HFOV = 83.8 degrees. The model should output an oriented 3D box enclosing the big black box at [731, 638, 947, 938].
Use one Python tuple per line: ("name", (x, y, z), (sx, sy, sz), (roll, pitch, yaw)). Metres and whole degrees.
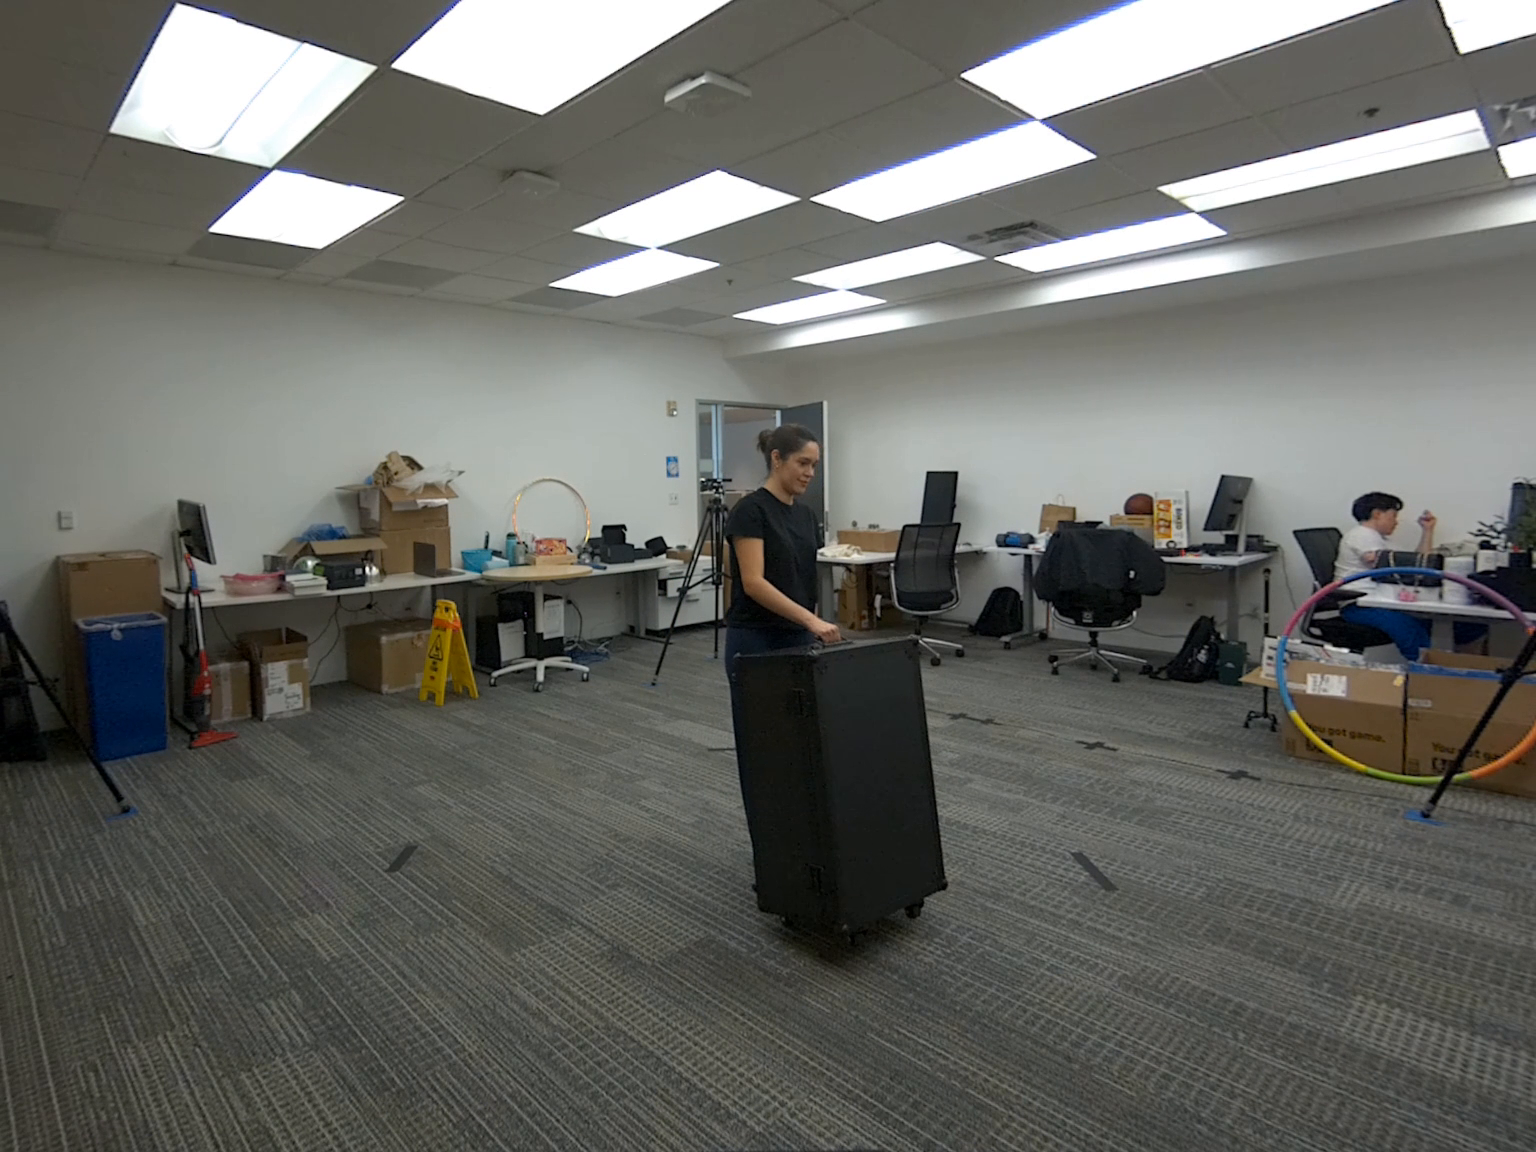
("big black box", (0.215, 0.589, 2.700), (0.507, 0.865, 0.405), (-3, -5, -40))
